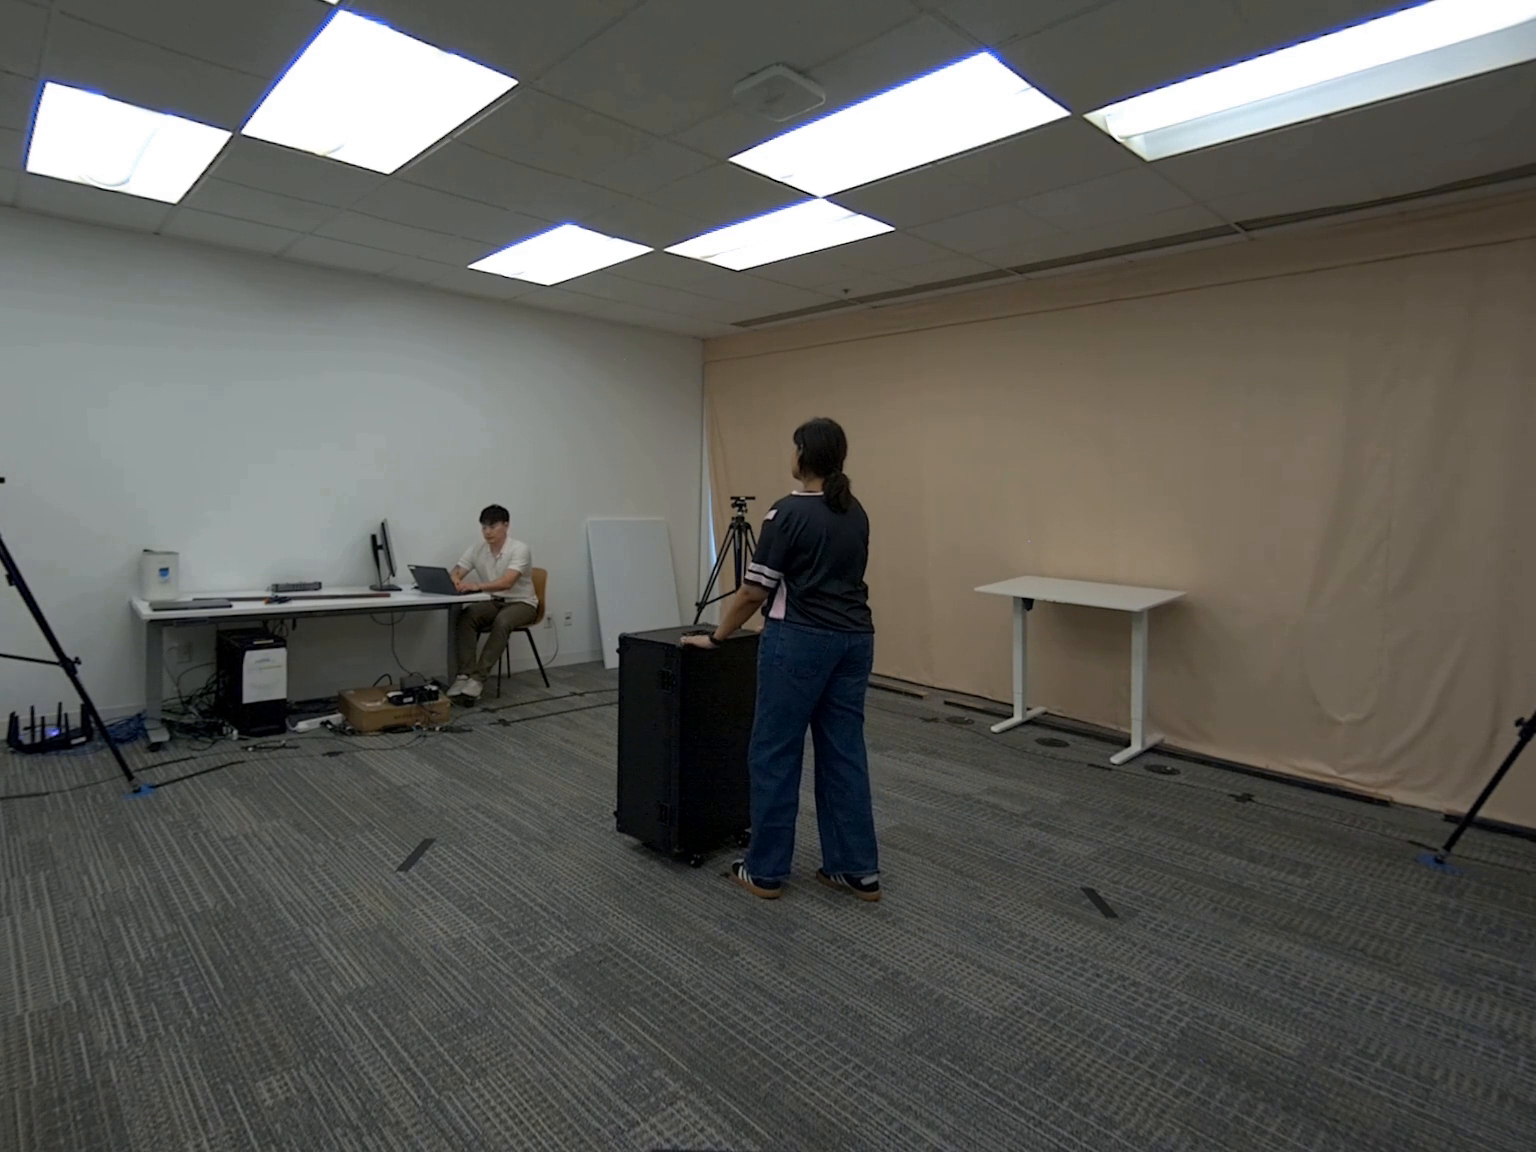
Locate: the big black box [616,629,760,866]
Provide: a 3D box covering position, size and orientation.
[{"bbox_3d":[-0.320,0.658,3.361,0.395,0.867,0.511,3,3,41],"label":"big black box"}]
